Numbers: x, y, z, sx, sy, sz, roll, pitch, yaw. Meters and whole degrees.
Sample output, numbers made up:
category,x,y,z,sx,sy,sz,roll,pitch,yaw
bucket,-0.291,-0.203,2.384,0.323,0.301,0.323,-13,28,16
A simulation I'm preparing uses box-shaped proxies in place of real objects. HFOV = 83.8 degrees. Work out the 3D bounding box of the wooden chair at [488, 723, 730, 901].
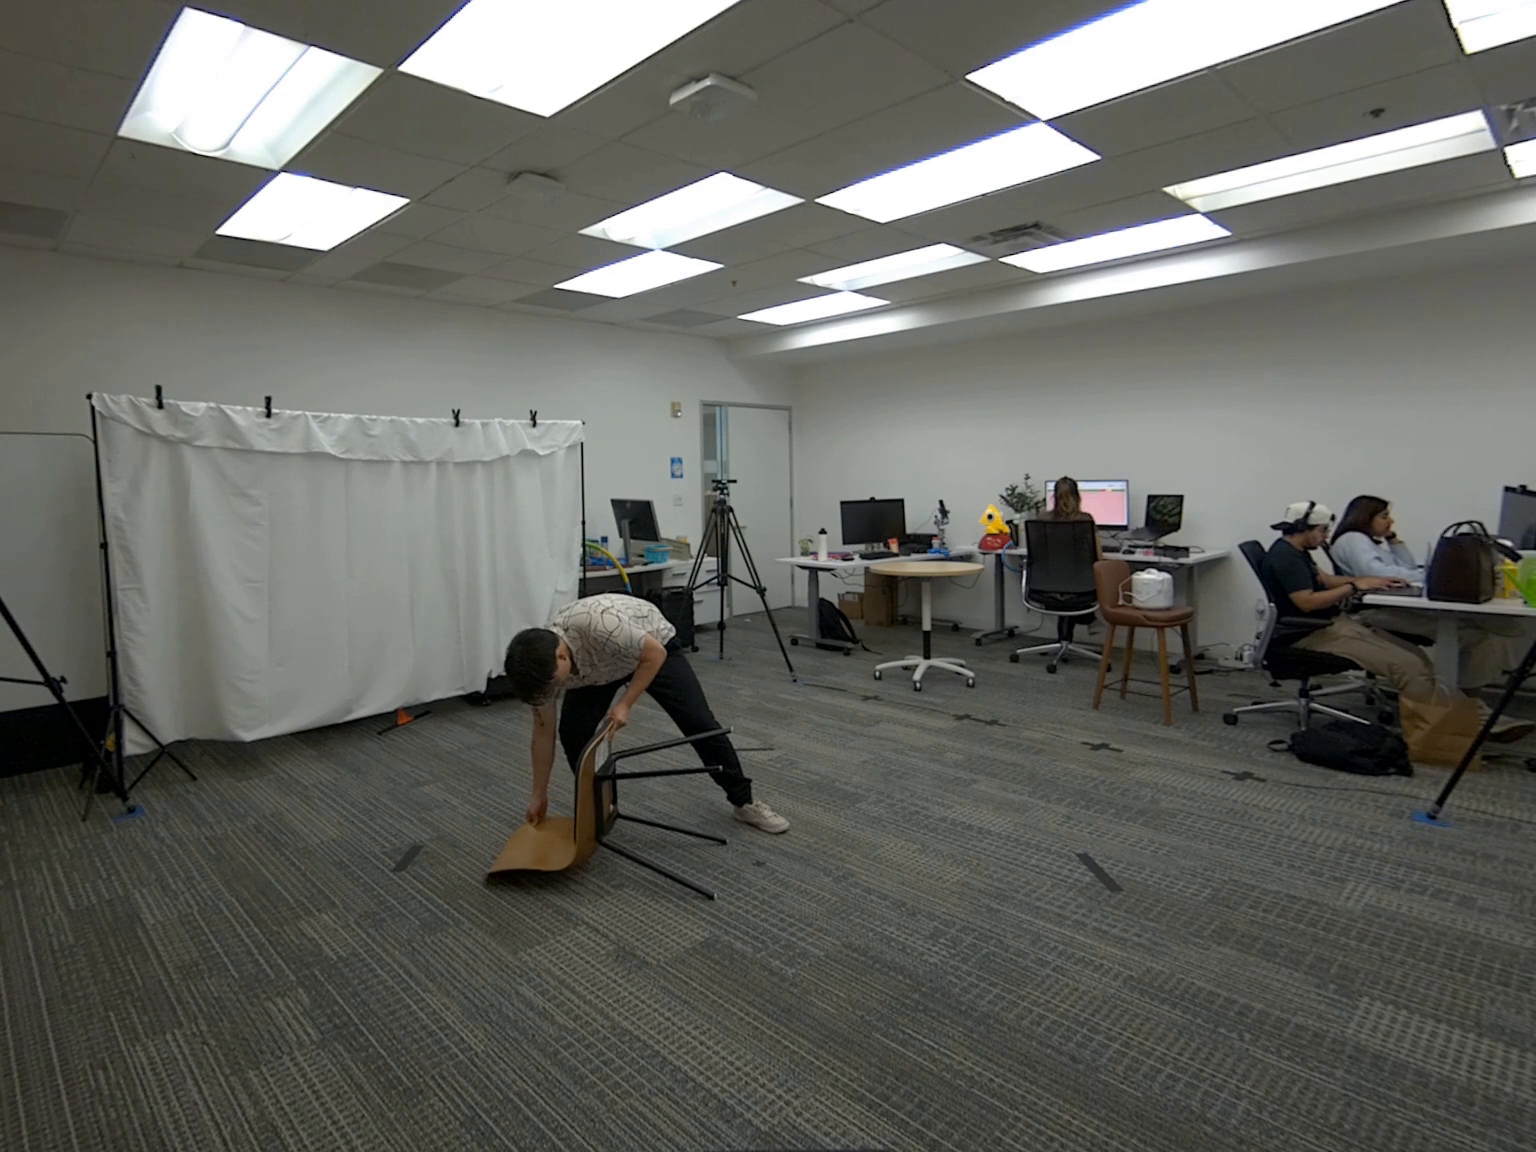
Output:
category,x,y,z,sx,sy,sz,roll,pitch,yaw
wooden chair,-0.586,0.803,3.096,0.882,0.521,0.478,-2,5,5
